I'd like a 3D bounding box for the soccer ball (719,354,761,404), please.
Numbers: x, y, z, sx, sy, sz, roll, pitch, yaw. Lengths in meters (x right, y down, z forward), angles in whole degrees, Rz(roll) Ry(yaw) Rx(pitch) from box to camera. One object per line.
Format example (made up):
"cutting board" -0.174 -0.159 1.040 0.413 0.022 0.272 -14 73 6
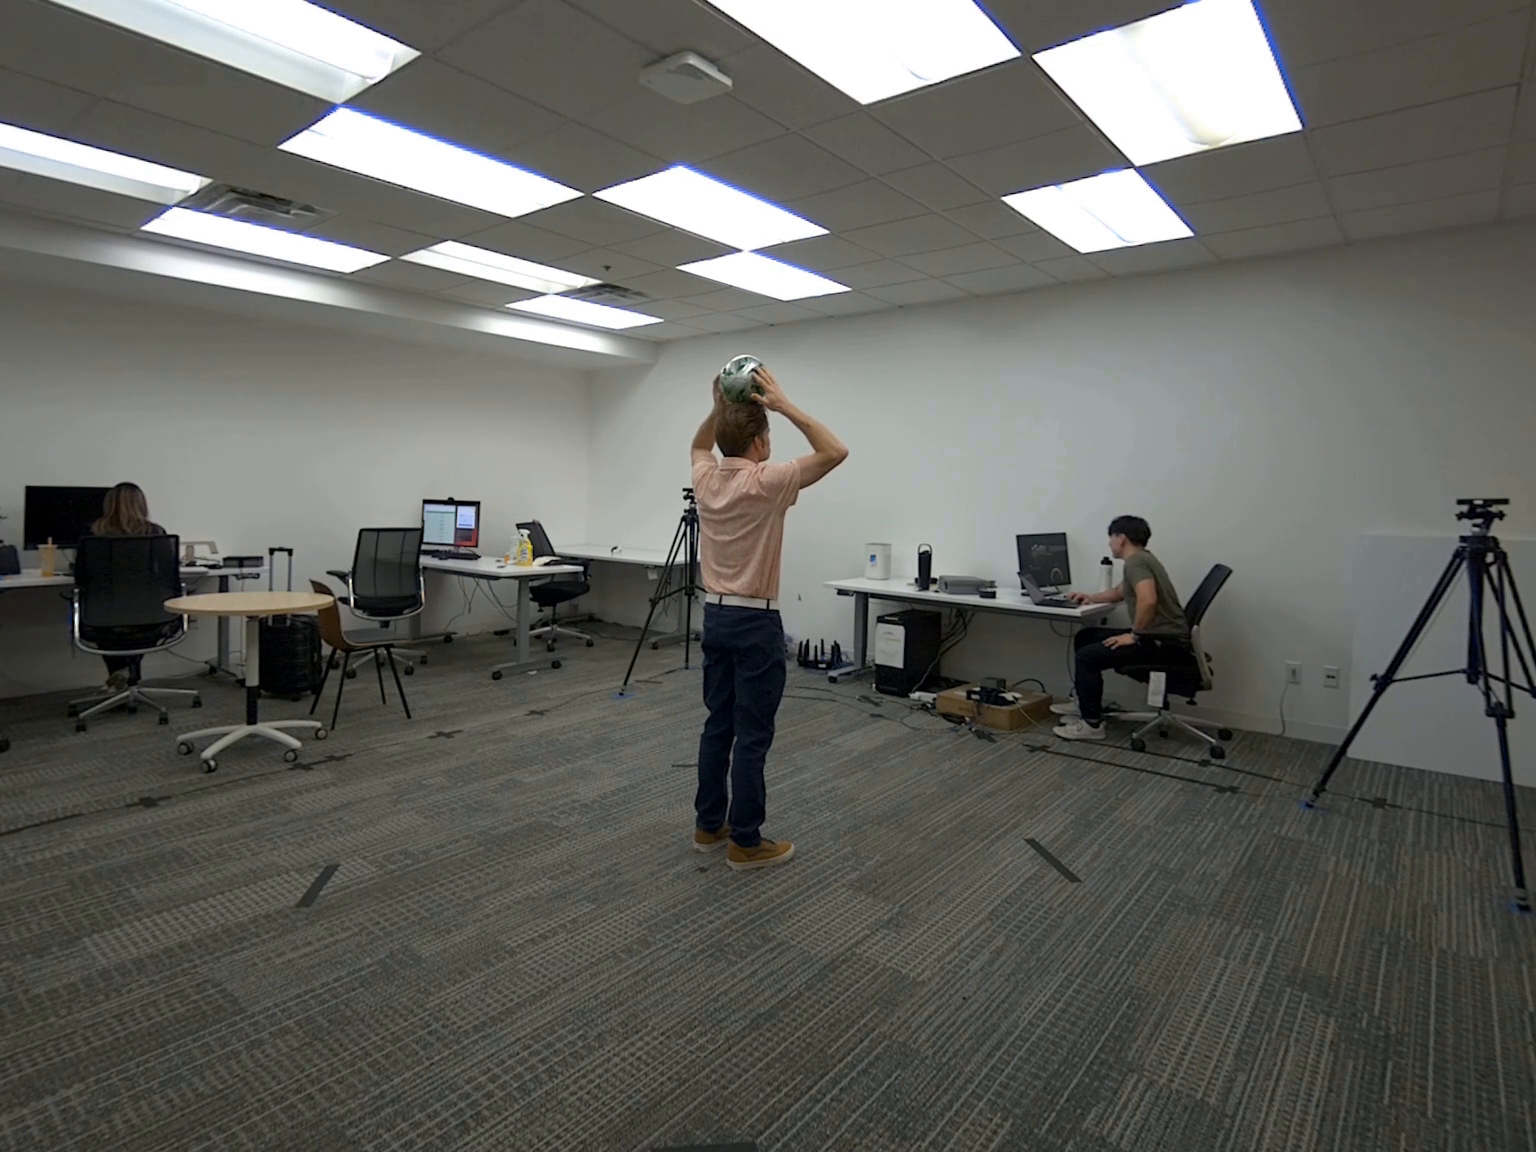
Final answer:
"soccer ball" -0.098 -0.728 3.175 0.187 0.187 0.188 1 4 -2
